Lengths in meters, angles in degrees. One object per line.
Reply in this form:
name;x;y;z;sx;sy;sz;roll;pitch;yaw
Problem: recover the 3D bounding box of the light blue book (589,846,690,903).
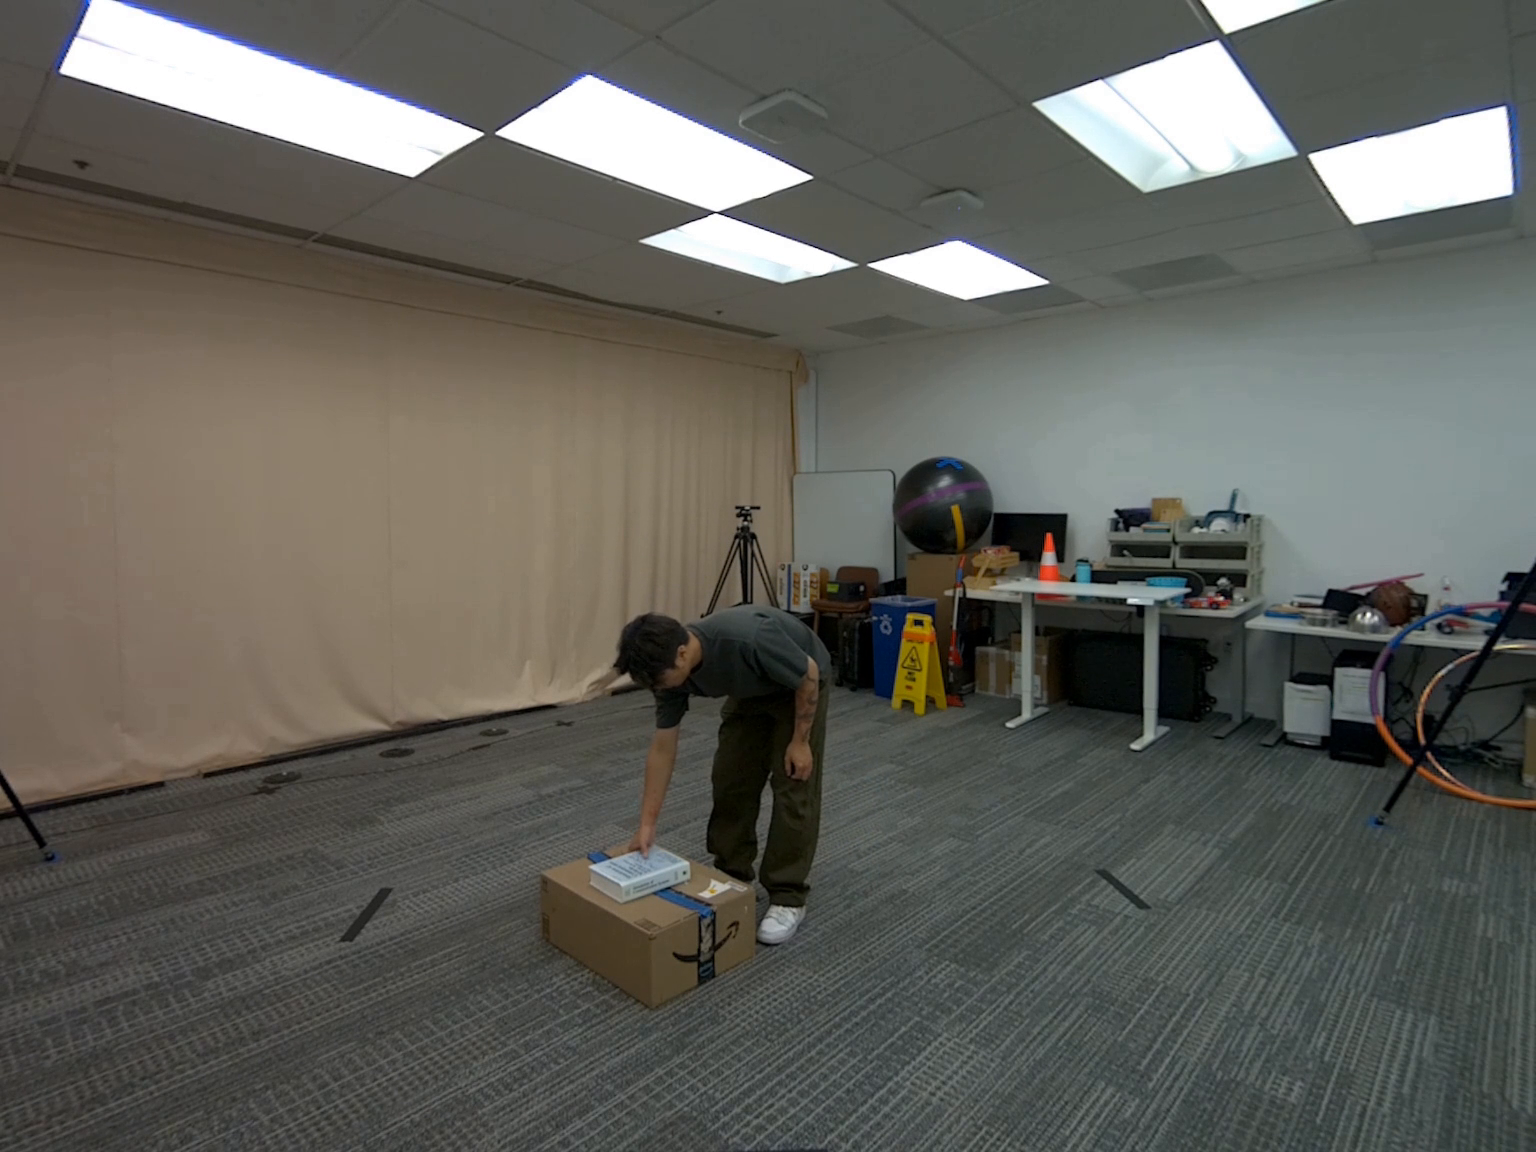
light blue book;-0.408;0.941;2.648;0.253;0.059;0.197;-3;4;-41
